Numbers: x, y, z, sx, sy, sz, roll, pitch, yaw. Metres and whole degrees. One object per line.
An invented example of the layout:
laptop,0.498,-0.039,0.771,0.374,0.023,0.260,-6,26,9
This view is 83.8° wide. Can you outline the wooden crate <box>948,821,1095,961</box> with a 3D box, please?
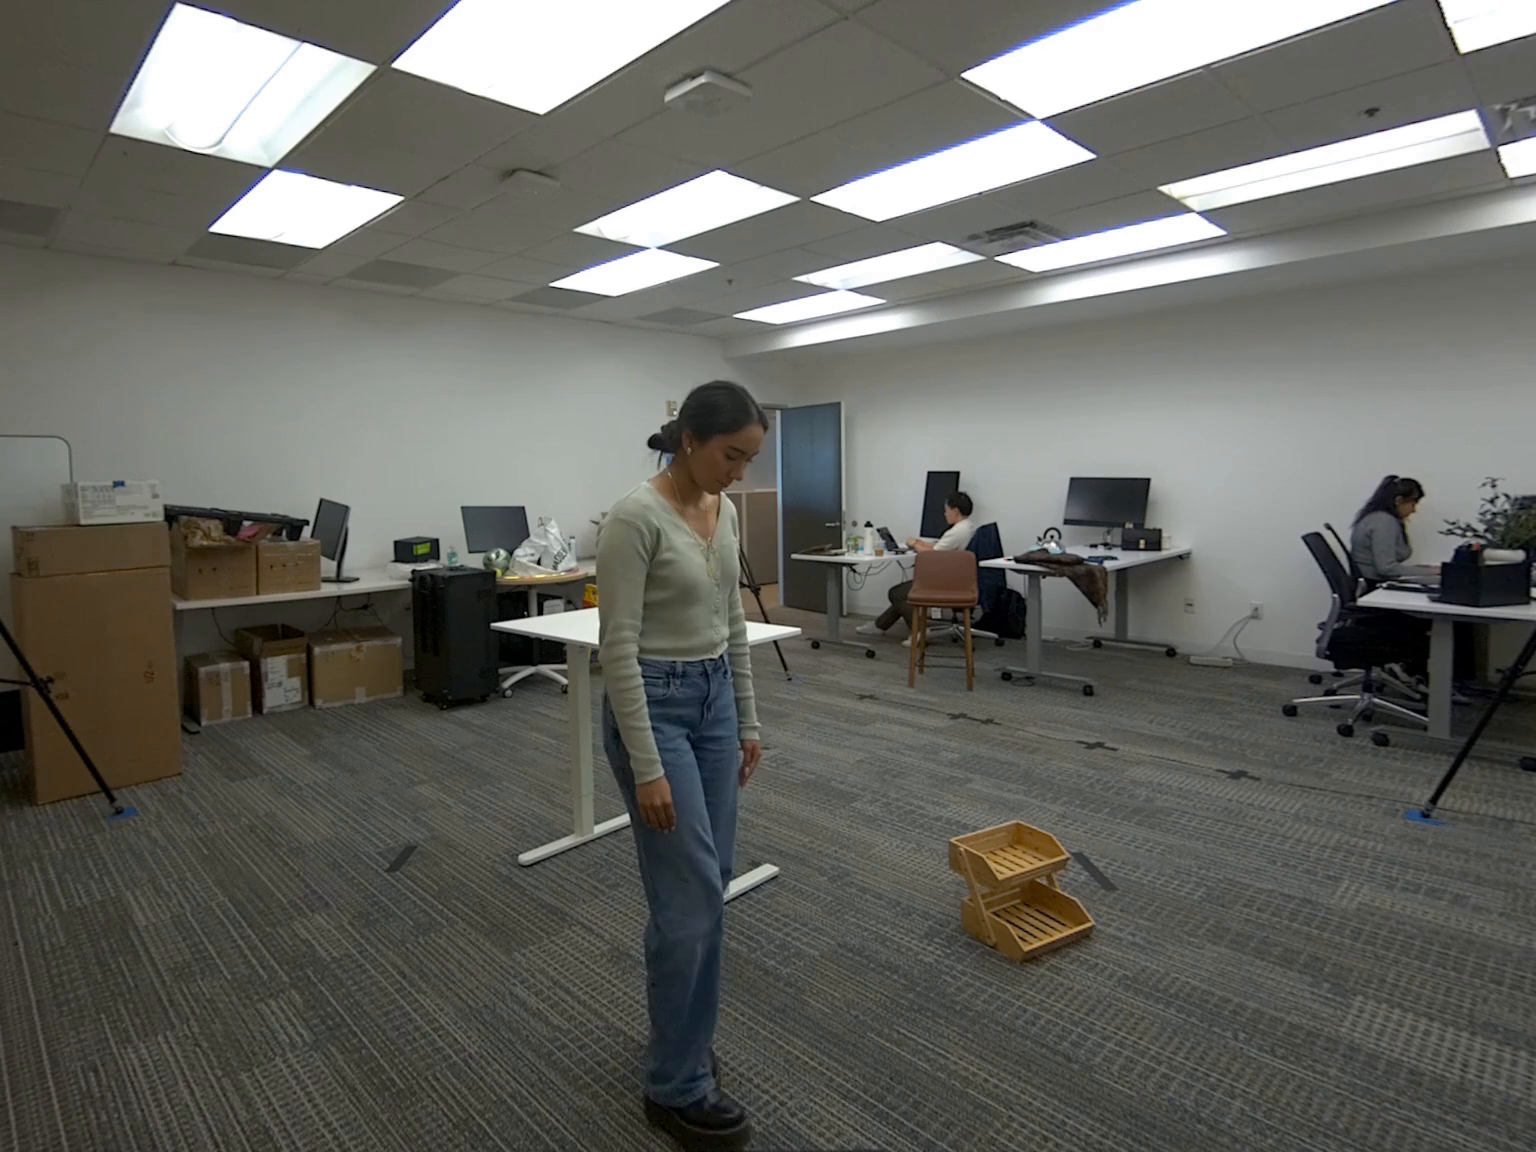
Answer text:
wooden crate,0.780,0.953,2.610,0.317,0.272,0.310,-5,5,-31
